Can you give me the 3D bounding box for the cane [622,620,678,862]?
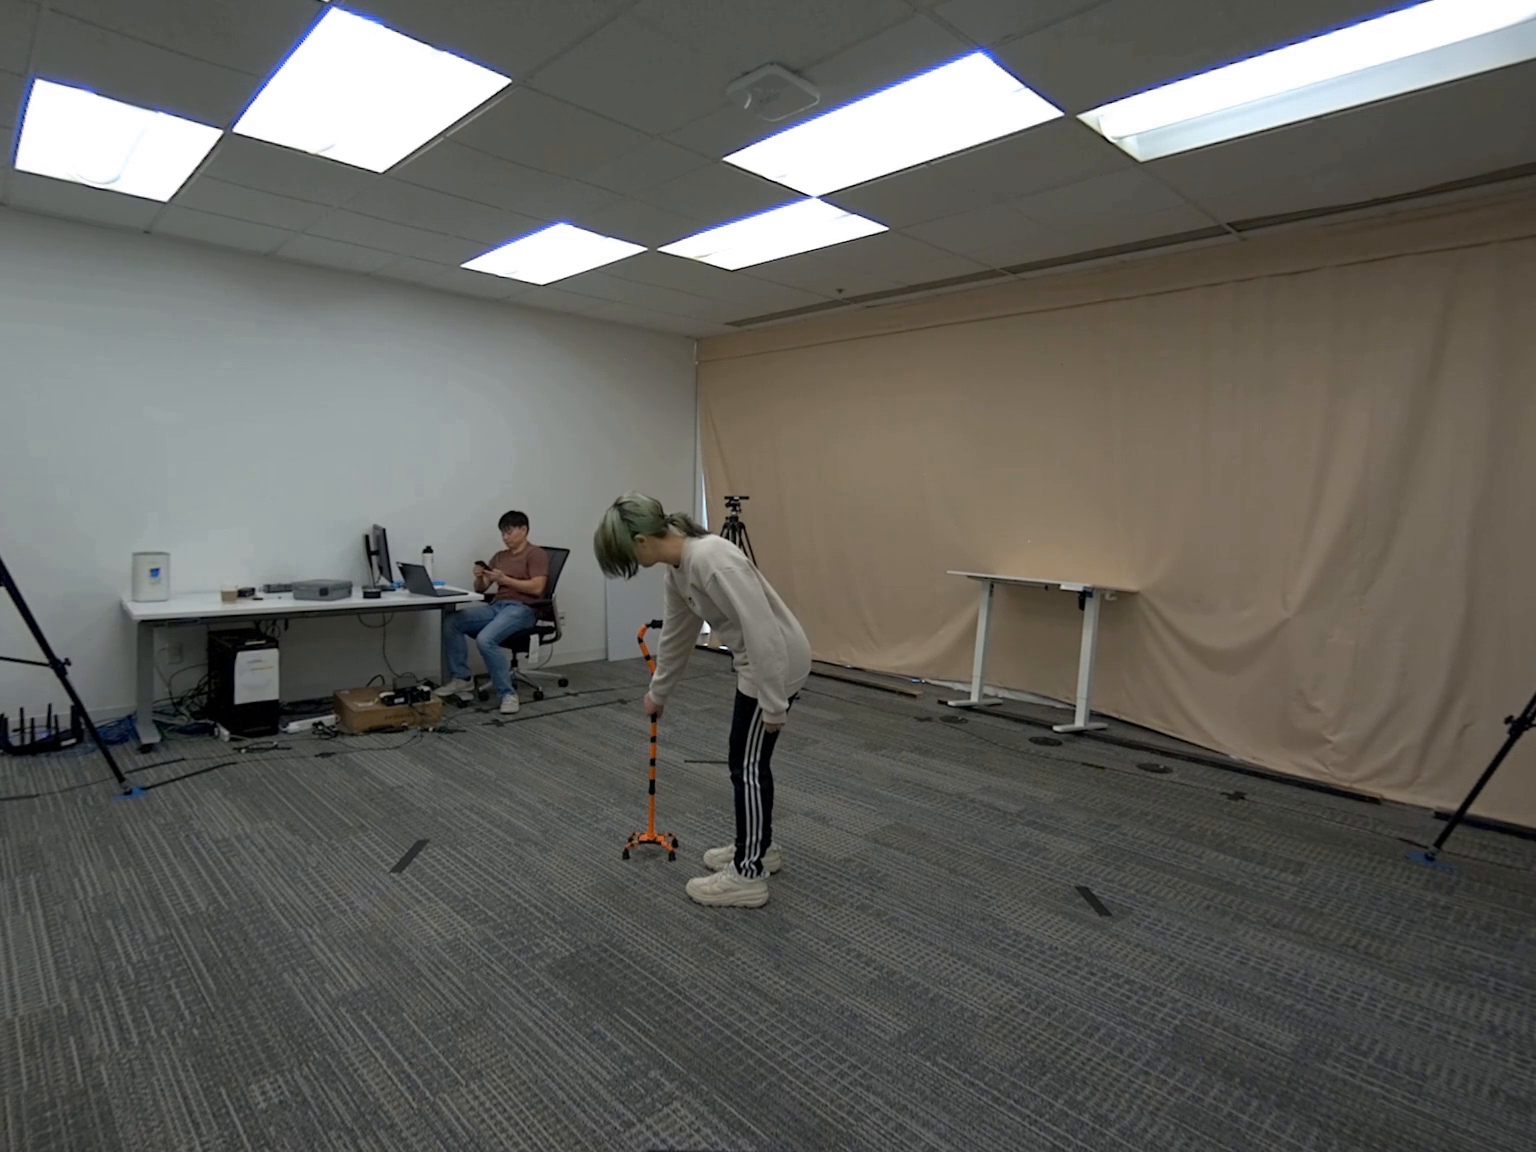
[{"bbox_3d":[-0.455,0.625,3.271,0.206,0.907,0.152,1,1,0],"label":"cane"}]
